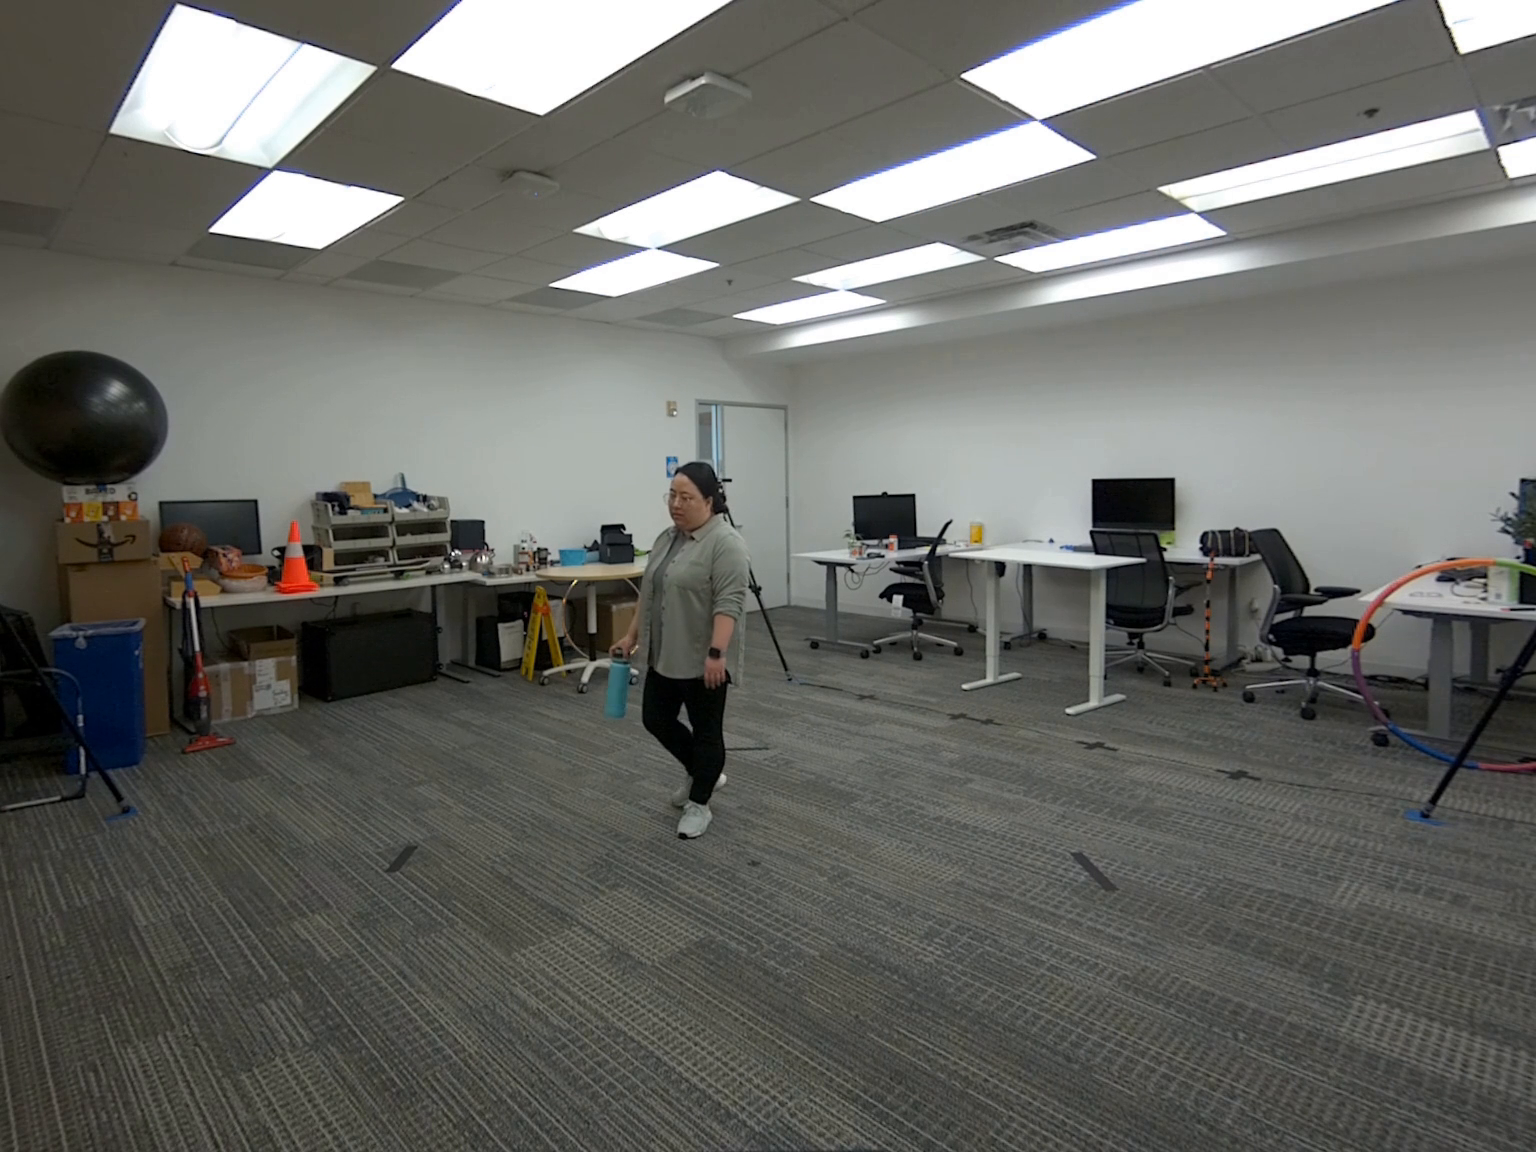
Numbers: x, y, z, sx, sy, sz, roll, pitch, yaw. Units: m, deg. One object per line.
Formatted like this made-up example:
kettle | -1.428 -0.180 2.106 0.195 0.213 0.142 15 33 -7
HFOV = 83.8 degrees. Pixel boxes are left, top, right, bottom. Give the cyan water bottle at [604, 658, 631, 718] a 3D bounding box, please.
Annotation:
cyan water bottle | -0.623 0.448 3.617 0.092 0.283 0.092 5 1 -2
